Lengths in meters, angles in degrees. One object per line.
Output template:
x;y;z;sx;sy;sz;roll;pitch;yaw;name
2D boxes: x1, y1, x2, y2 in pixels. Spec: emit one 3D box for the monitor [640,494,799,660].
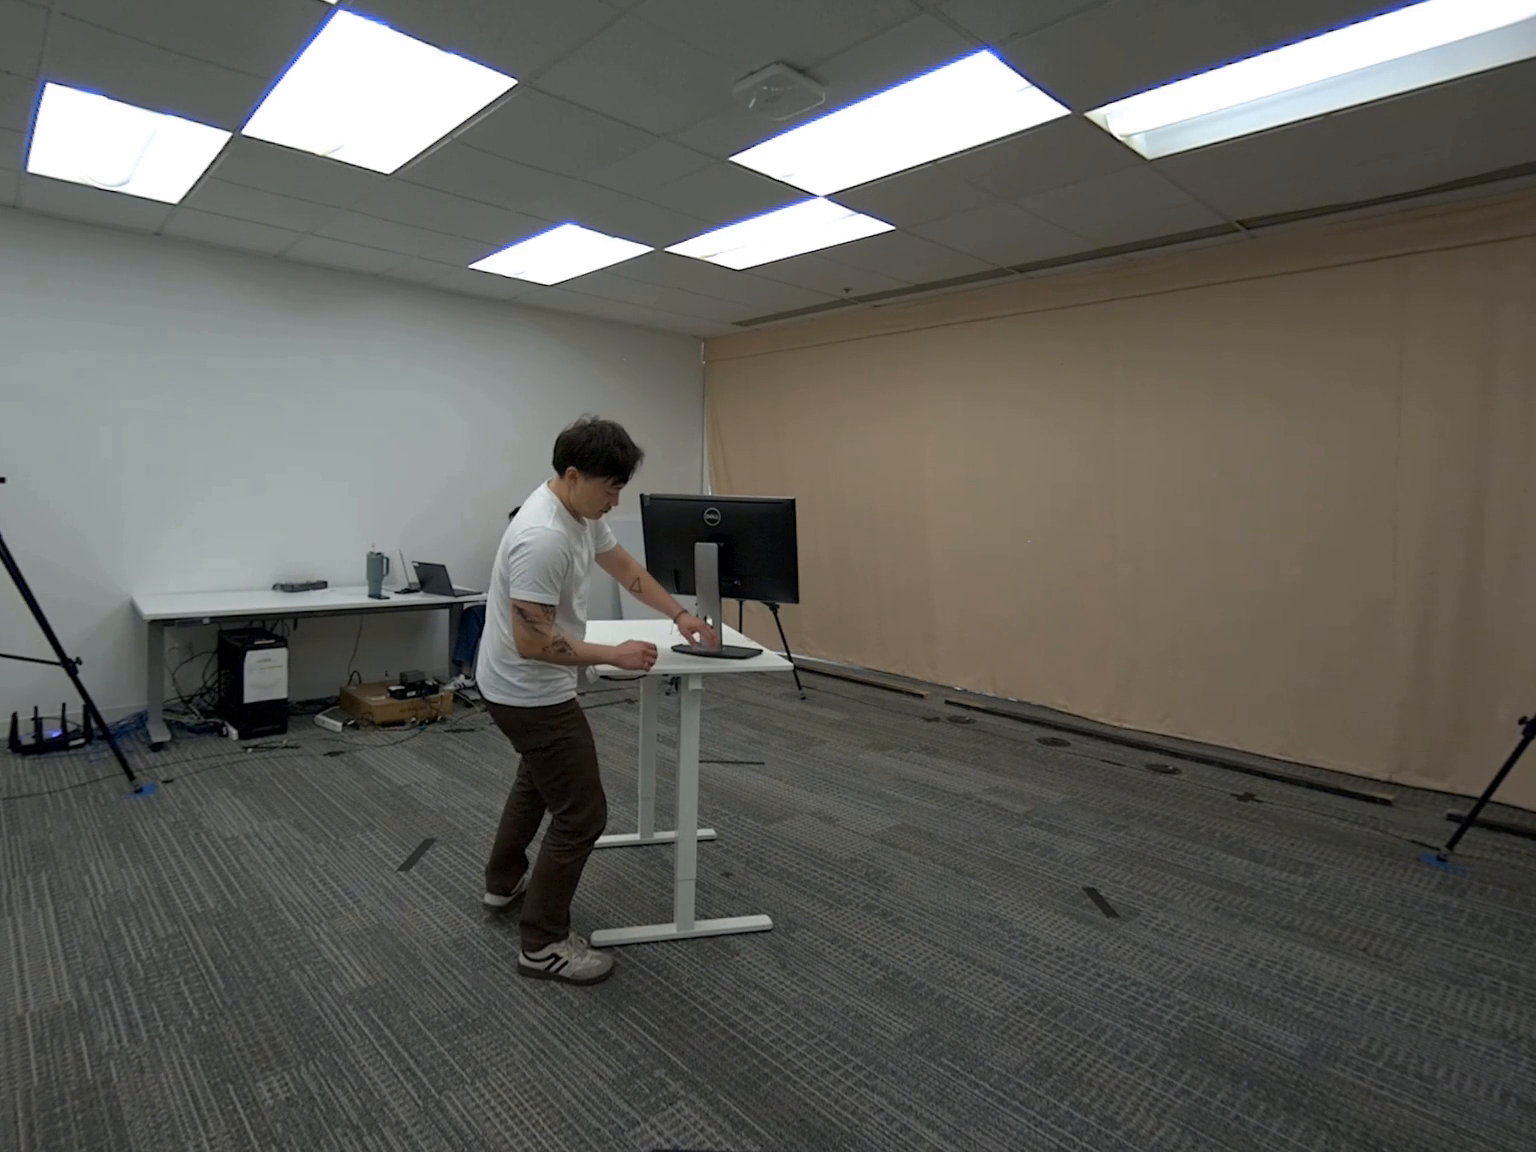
-0.177;0.000;2.730;0.547;0.521;0.185;3;5;19;monitor
